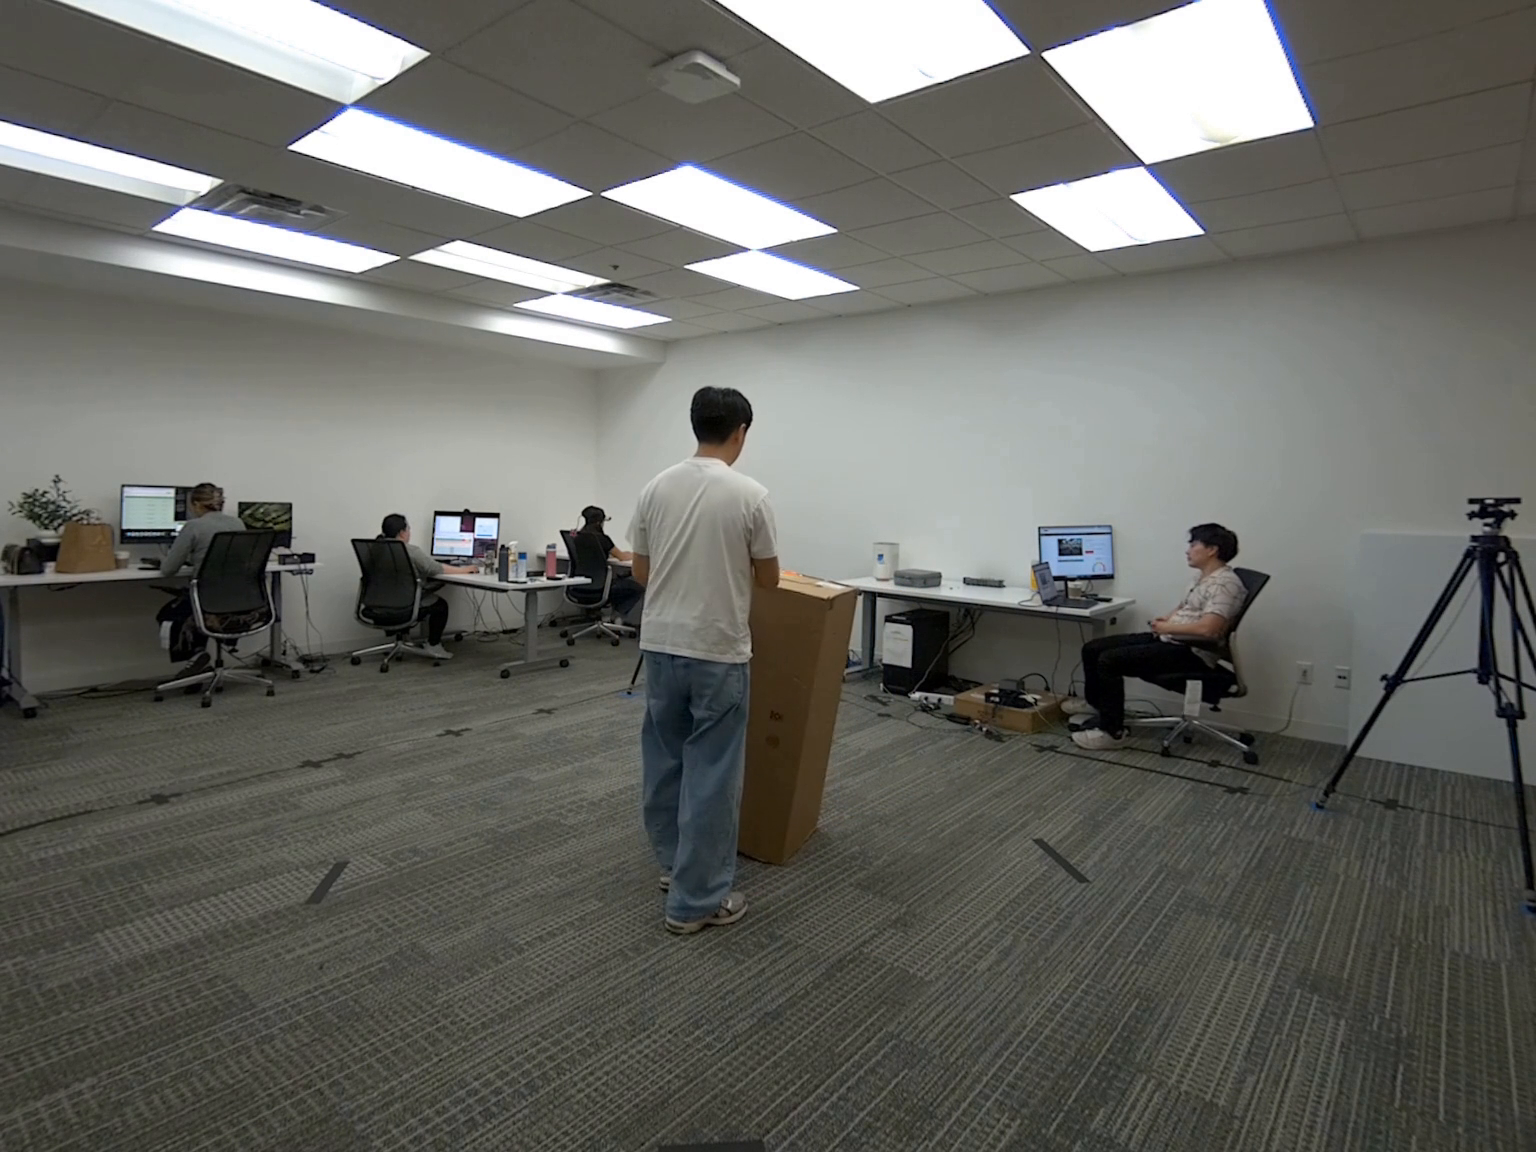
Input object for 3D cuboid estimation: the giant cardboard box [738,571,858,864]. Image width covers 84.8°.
[{"bbox_3d":[-0.051,0.498,3.387,0.593,1.020,0.417,13,7,22],"label":"giant cardboard box"}]
